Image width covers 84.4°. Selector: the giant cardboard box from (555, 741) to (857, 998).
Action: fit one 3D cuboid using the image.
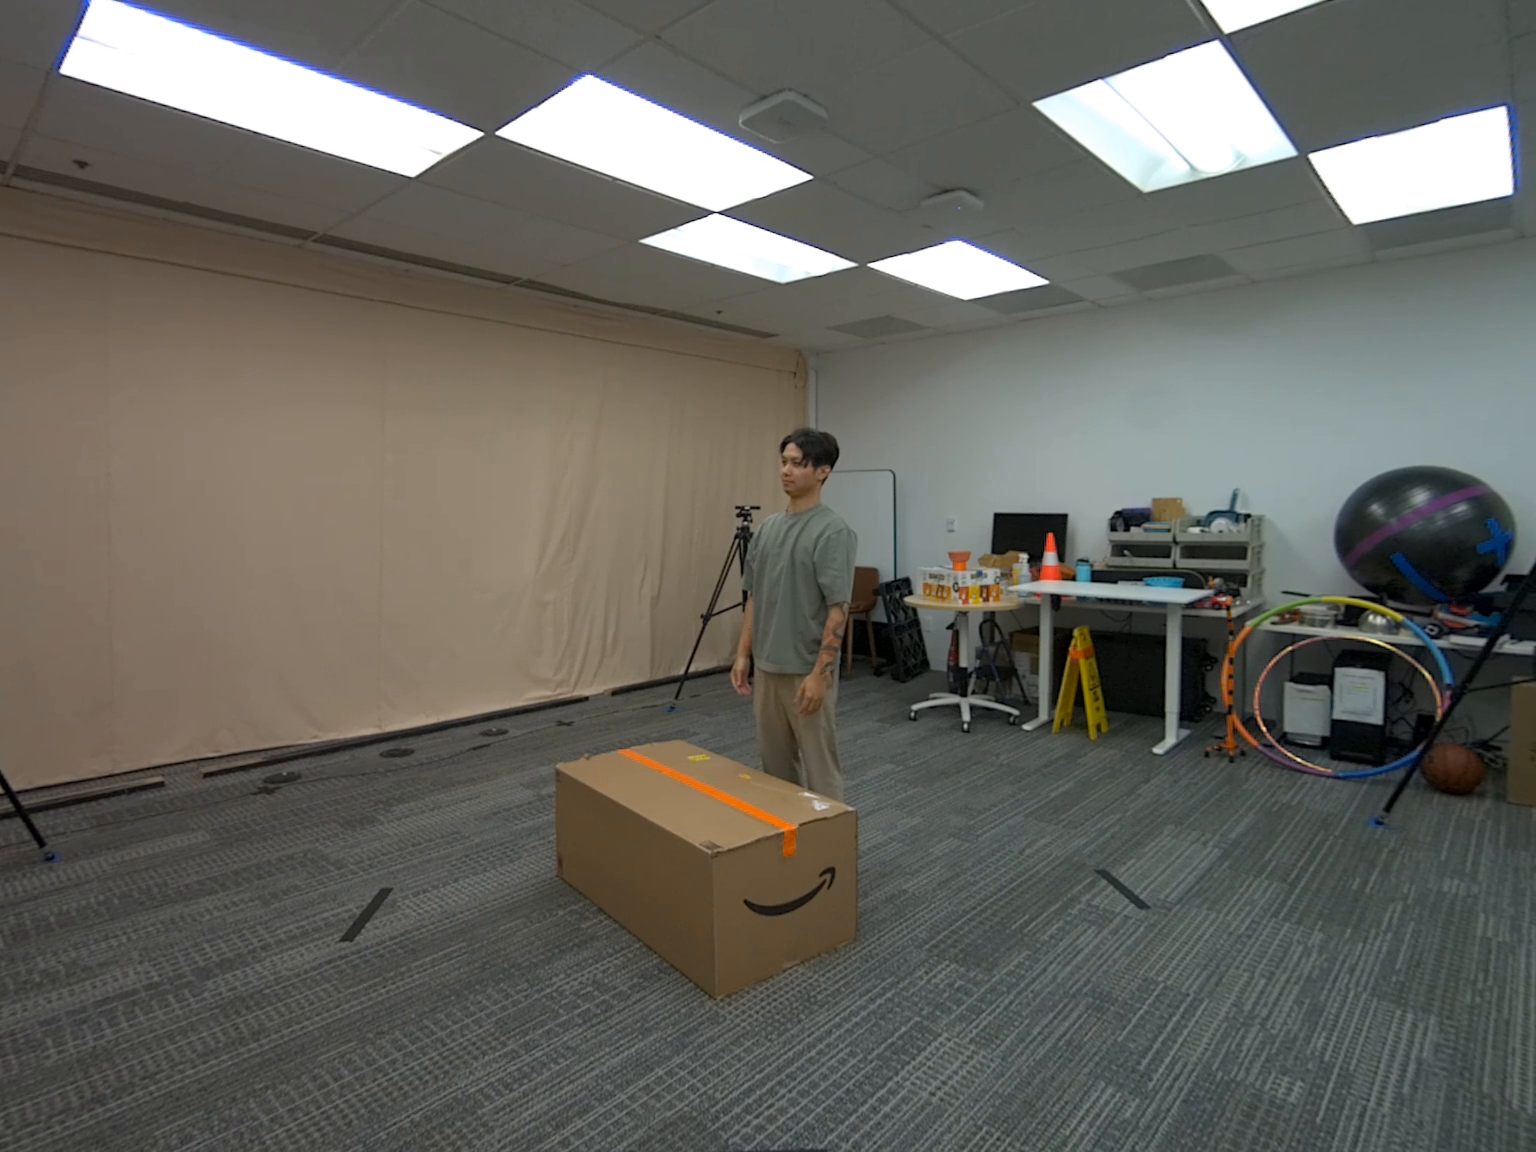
[{"bbox_3d":[-0.257,0.934,2.933,0.560,0.425,1.059,-3,5,-38],"label":"giant cardboard box"}]
